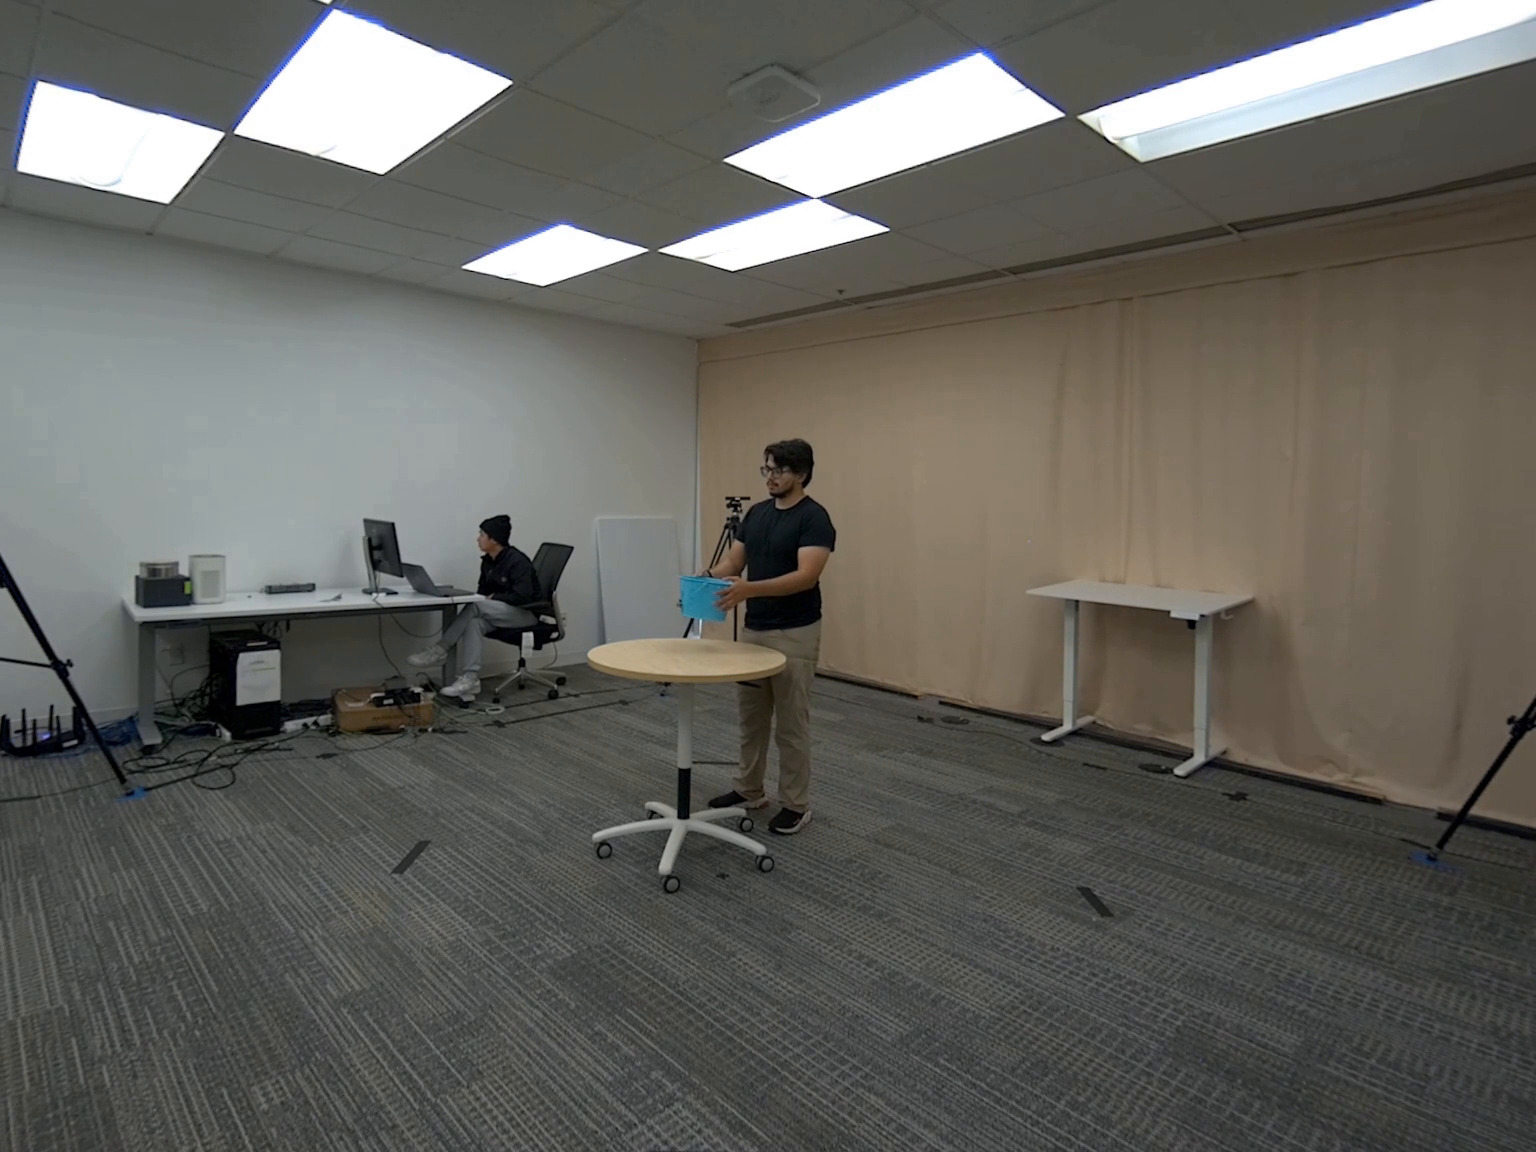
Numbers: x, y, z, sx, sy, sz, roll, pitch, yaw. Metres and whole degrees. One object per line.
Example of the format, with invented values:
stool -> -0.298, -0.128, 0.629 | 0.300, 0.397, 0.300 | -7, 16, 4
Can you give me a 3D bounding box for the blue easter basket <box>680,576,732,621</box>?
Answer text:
blue easter basket -> -0.261, 0.092, 3.392 | 0.243, 0.156, 0.244 | 6, 2, -2
